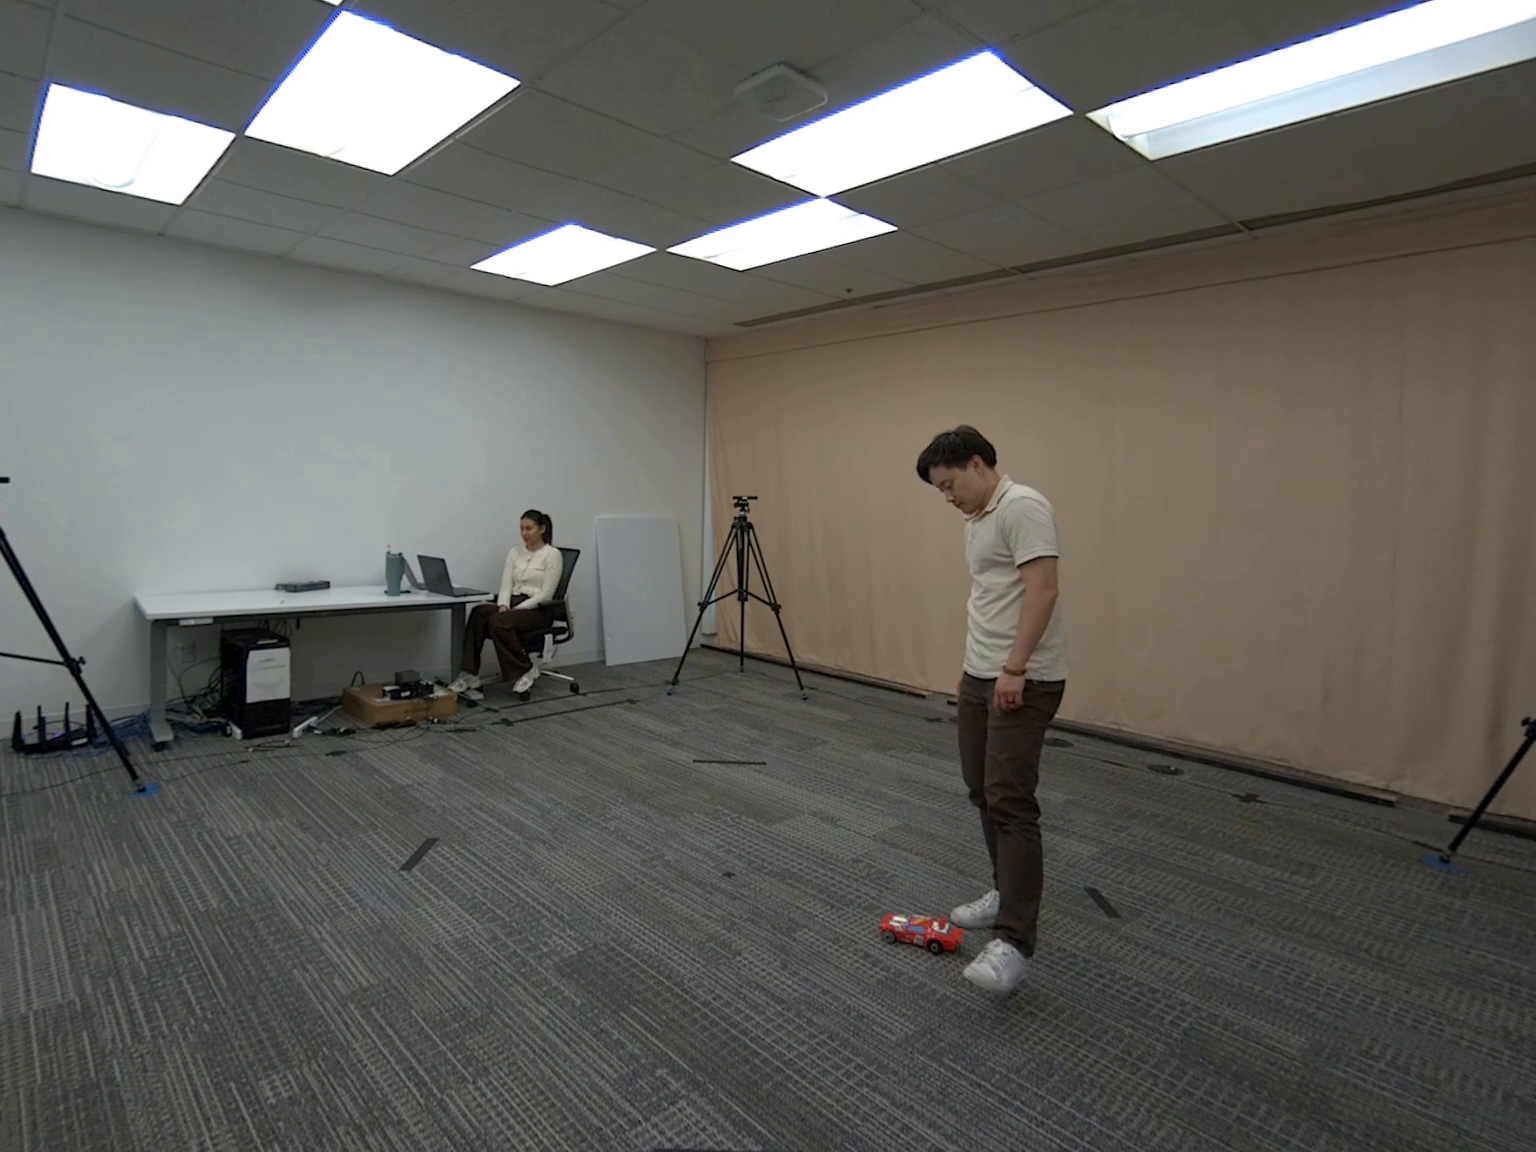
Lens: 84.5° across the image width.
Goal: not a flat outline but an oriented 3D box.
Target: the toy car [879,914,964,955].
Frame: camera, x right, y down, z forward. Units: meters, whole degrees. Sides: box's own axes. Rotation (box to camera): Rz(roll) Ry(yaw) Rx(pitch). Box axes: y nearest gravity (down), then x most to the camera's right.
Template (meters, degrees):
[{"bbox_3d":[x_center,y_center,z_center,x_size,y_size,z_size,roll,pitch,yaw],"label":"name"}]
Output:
[{"bbox_3d":[0.482,1.128,2.654,0.258,0.083,0.128,-8,-1,24],"label":"toy car"}]
